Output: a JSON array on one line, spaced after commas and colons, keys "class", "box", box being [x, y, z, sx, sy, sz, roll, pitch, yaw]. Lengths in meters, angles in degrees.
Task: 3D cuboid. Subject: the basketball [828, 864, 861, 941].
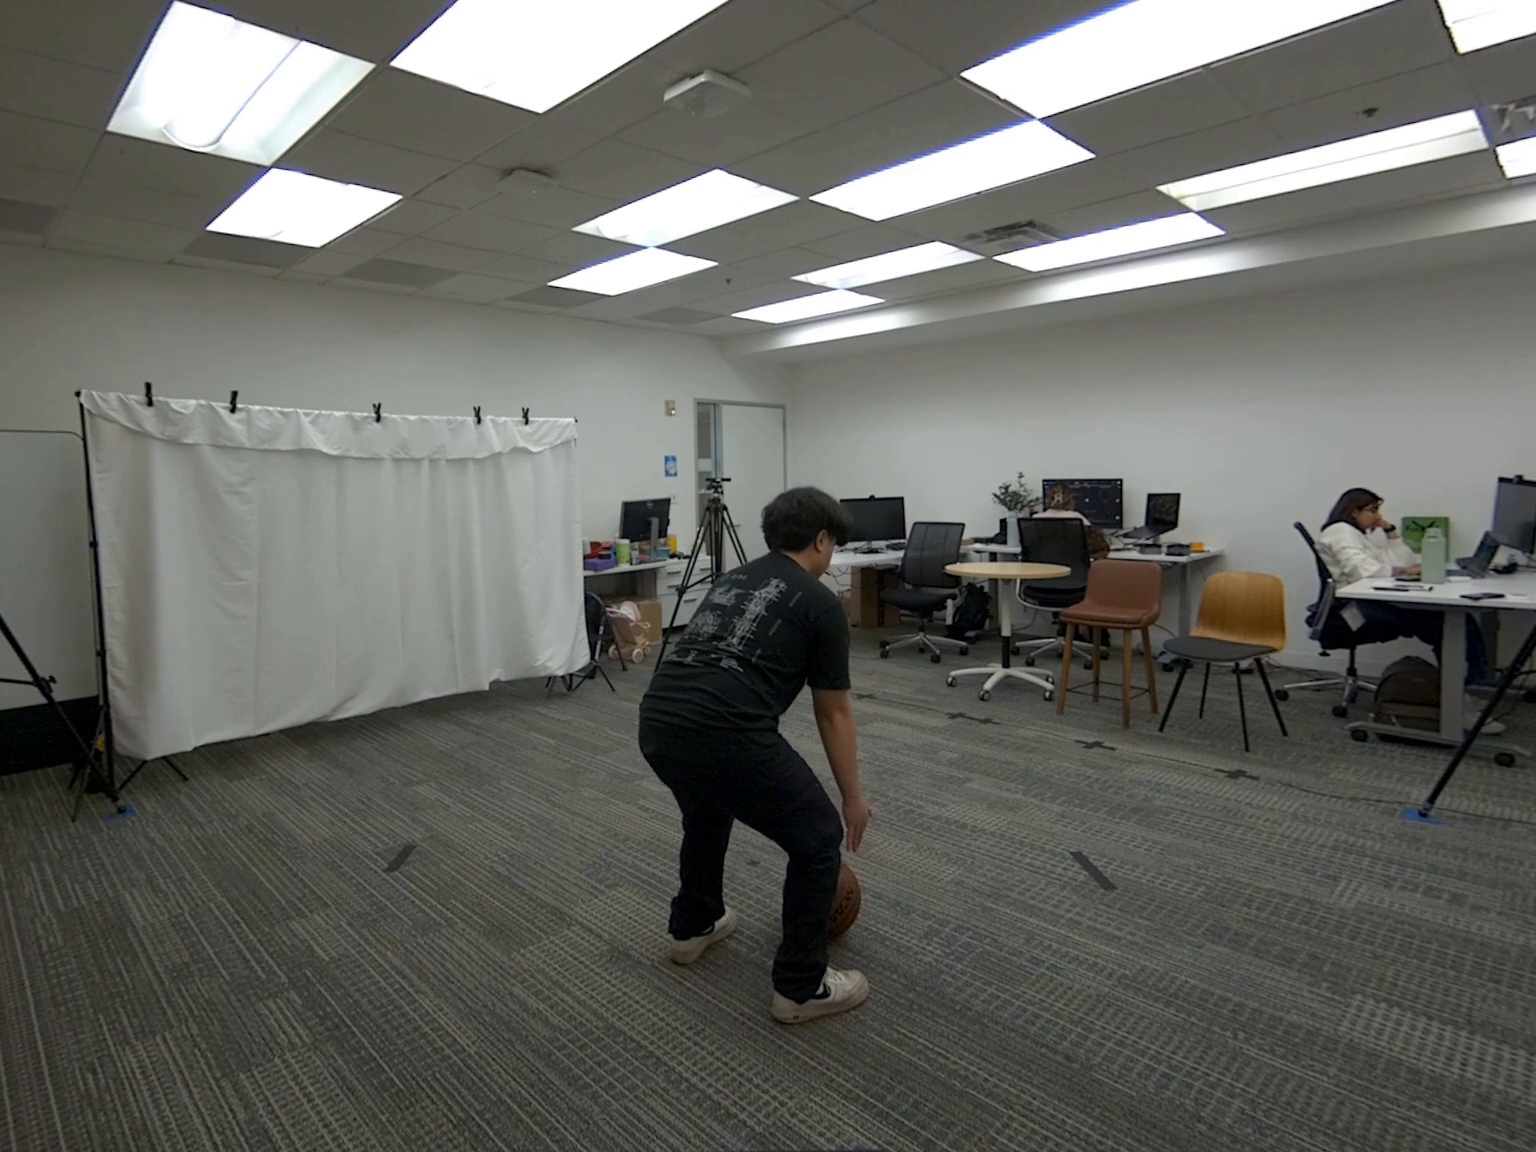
[{"class": "basketball", "box": [0.168, 0.975, 2.610, 0.236, 0.235, 0.237, -1, 5, -2]}]
